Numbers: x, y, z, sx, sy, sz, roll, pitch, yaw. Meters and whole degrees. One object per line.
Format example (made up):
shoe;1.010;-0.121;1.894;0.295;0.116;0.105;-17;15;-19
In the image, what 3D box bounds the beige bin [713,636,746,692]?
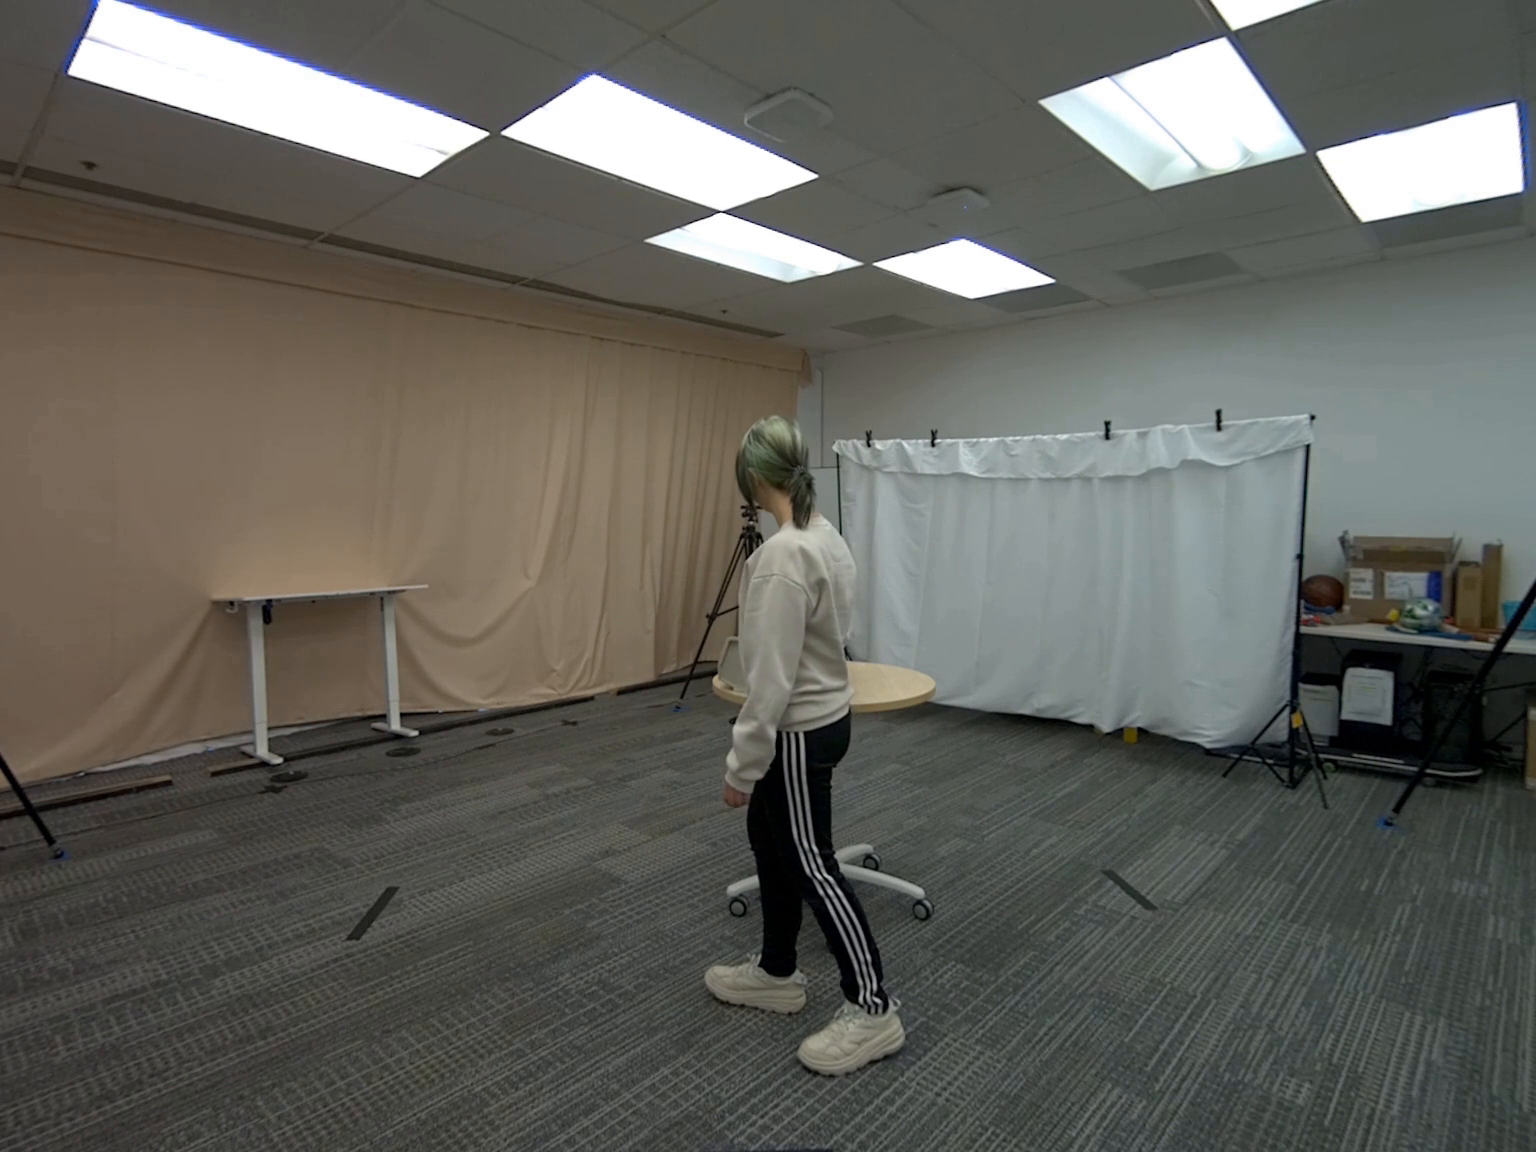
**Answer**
beige bin;0.060;0.268;2.930;0.382;0.188;0.418;3;4;10
